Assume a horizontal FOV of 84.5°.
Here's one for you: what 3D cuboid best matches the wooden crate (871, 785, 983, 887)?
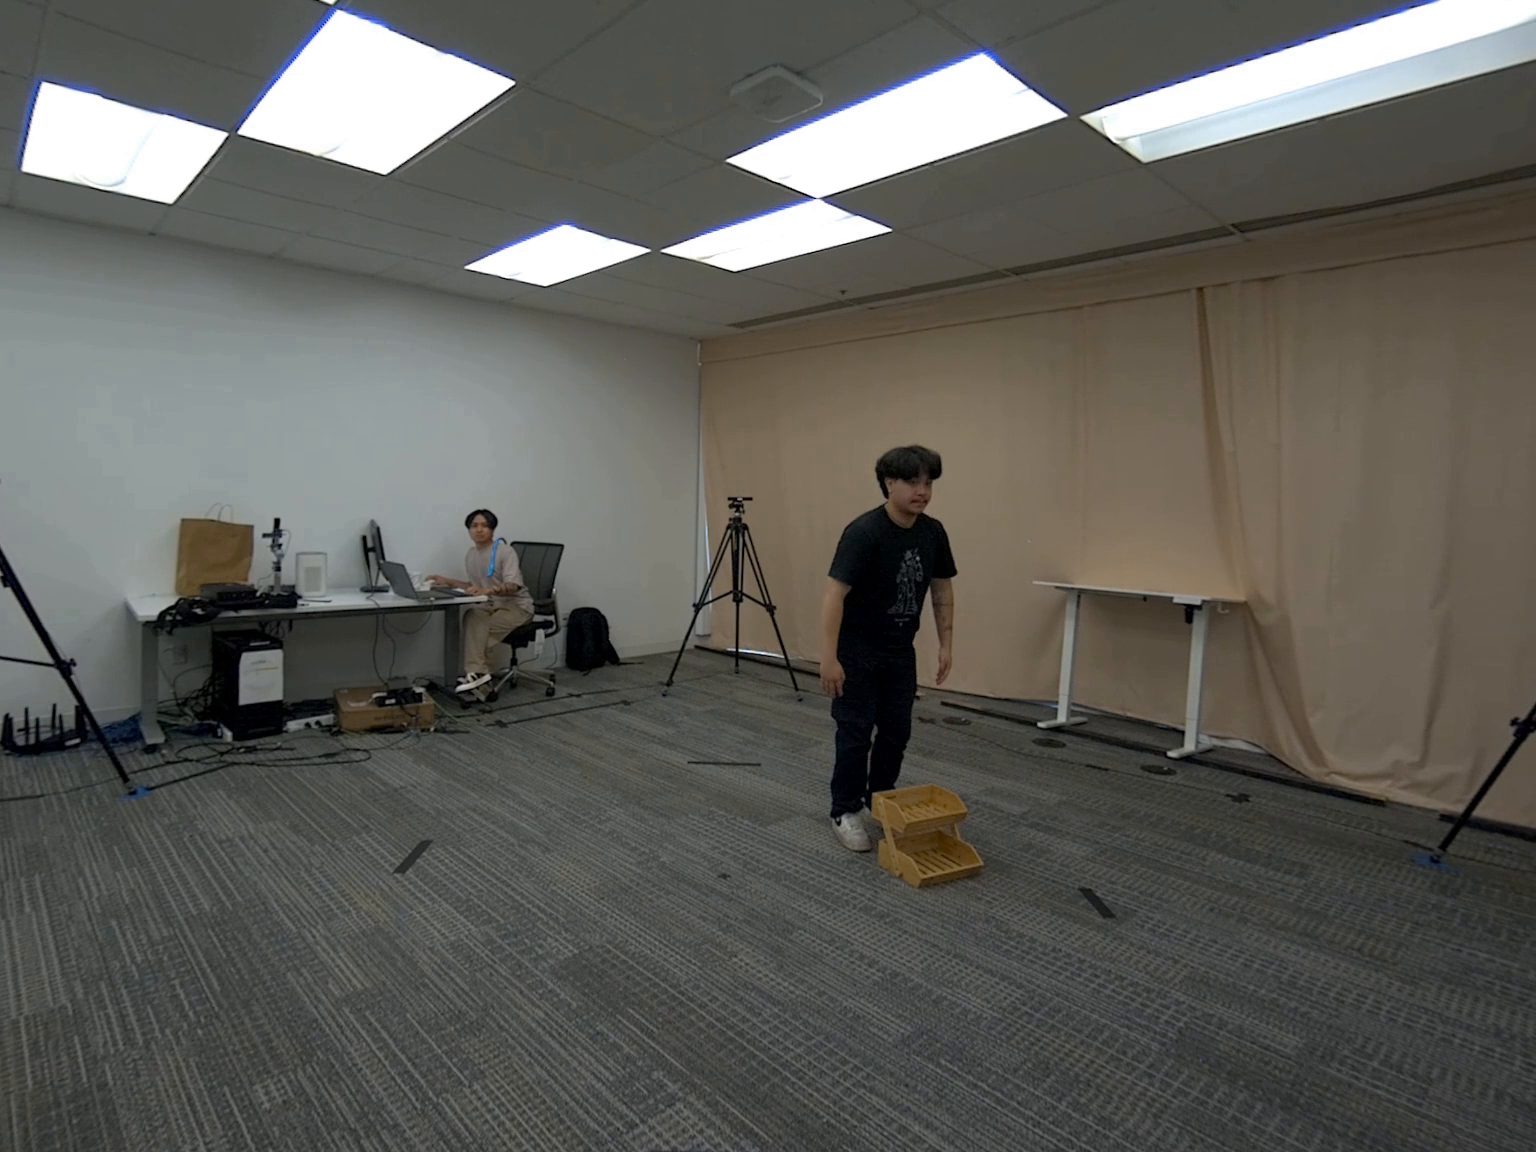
[{"bbox_3d":[0.599,0.986,3.221,0.318,0.273,0.308,0,3,-29],"label":"wooden crate"}]
